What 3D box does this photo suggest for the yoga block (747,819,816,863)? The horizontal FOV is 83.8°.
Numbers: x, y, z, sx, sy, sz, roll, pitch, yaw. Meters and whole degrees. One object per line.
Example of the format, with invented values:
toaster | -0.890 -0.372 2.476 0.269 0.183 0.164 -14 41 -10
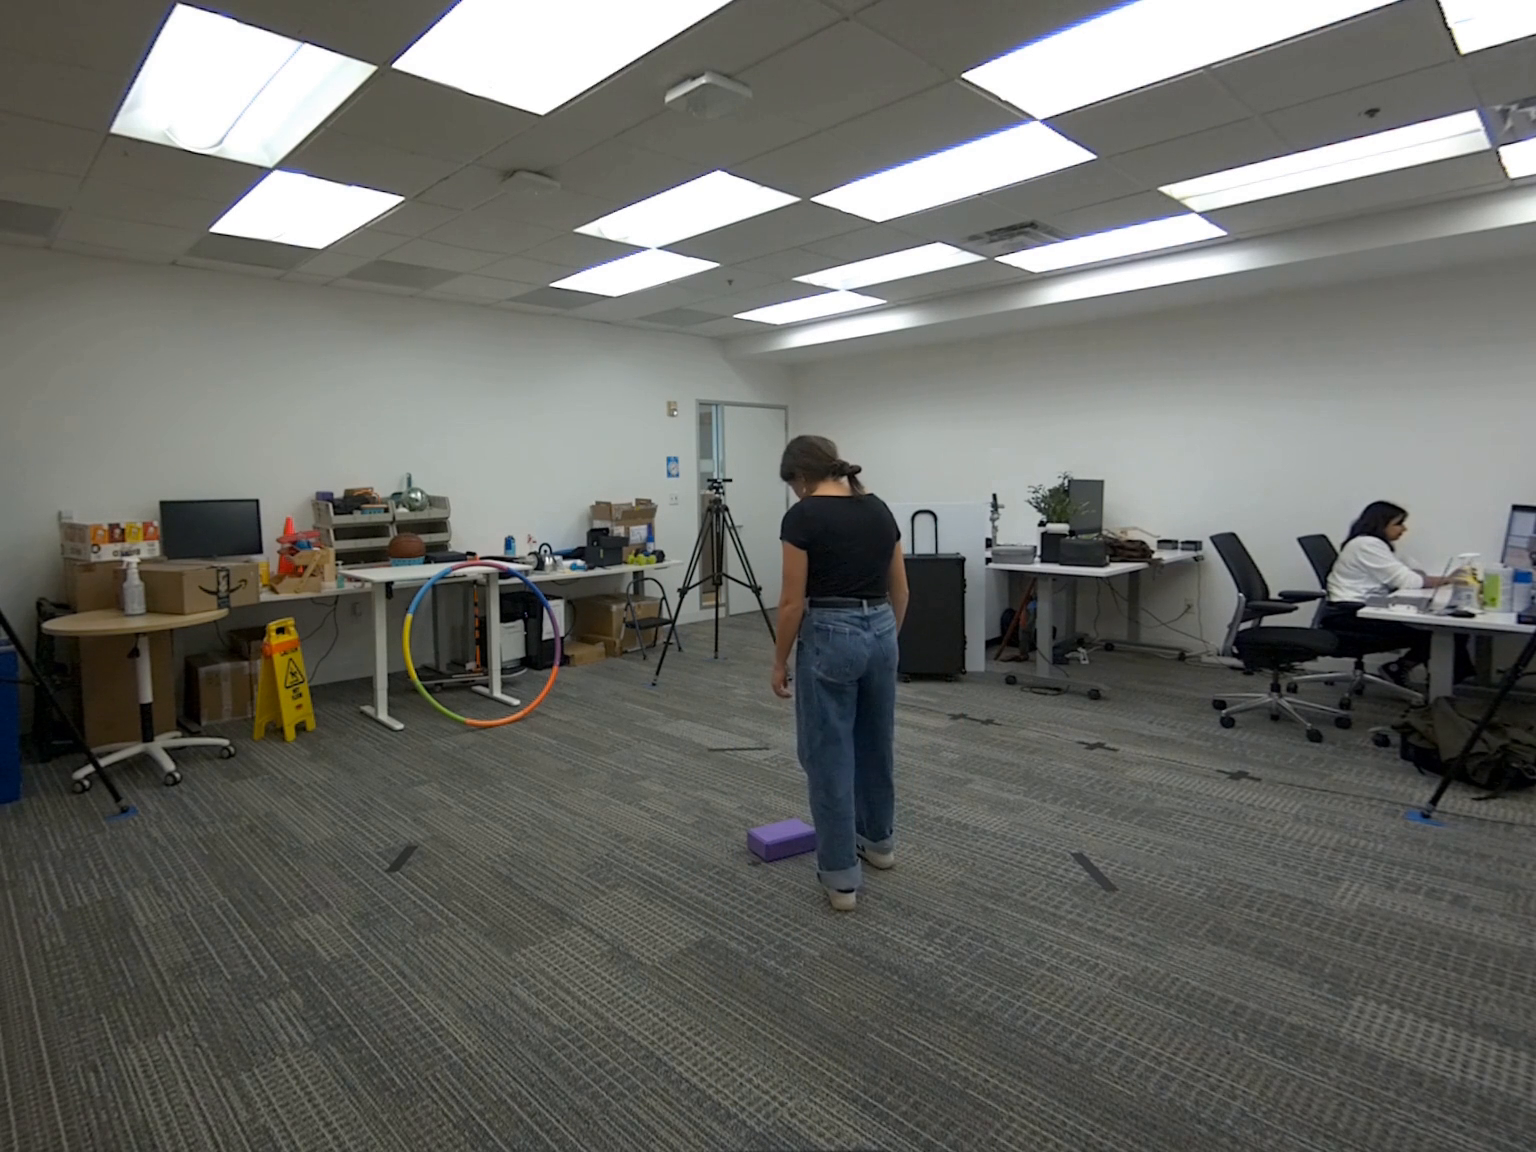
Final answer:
yoga block | 0.057 0.991 3.224 0.224 0.076 0.153 -4 6 -29
